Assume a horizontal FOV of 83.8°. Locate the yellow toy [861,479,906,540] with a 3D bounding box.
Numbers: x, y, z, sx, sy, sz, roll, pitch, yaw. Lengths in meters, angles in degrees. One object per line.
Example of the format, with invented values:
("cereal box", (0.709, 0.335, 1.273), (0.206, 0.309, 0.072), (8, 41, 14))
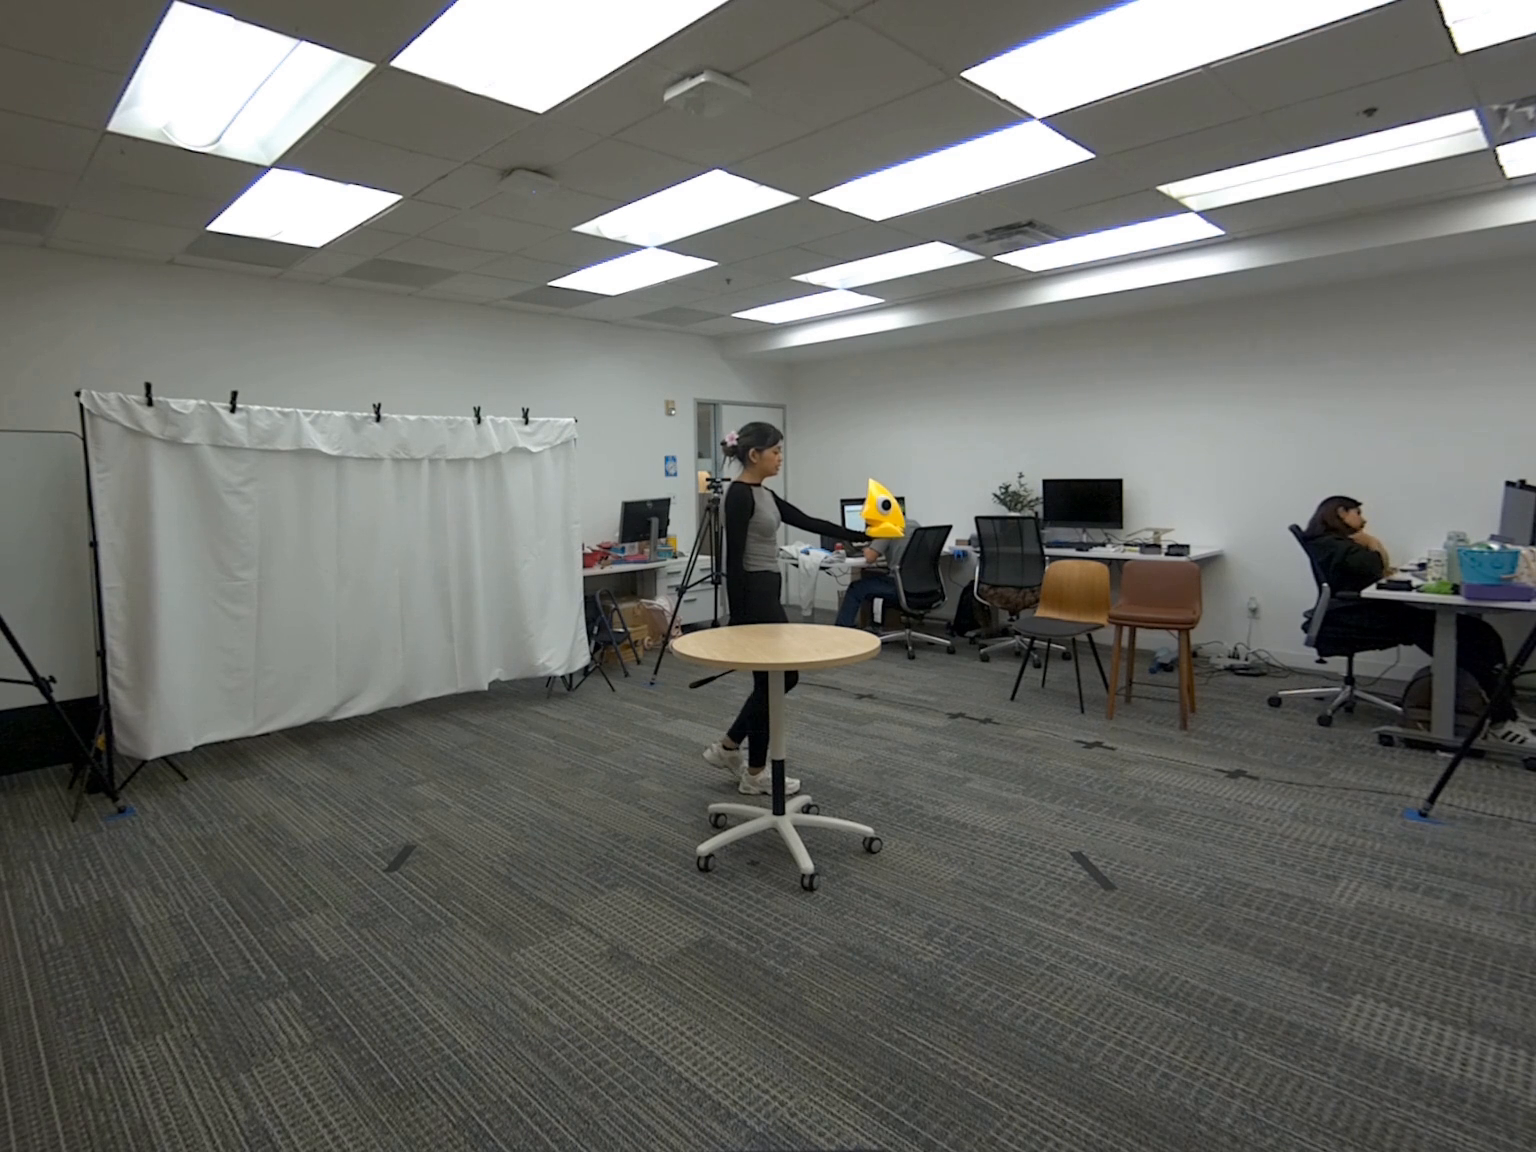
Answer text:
("yellow toy", (0.483, -0.294, 3.608), (0.195, 0.229, 0.205), (2, 10, 7))
